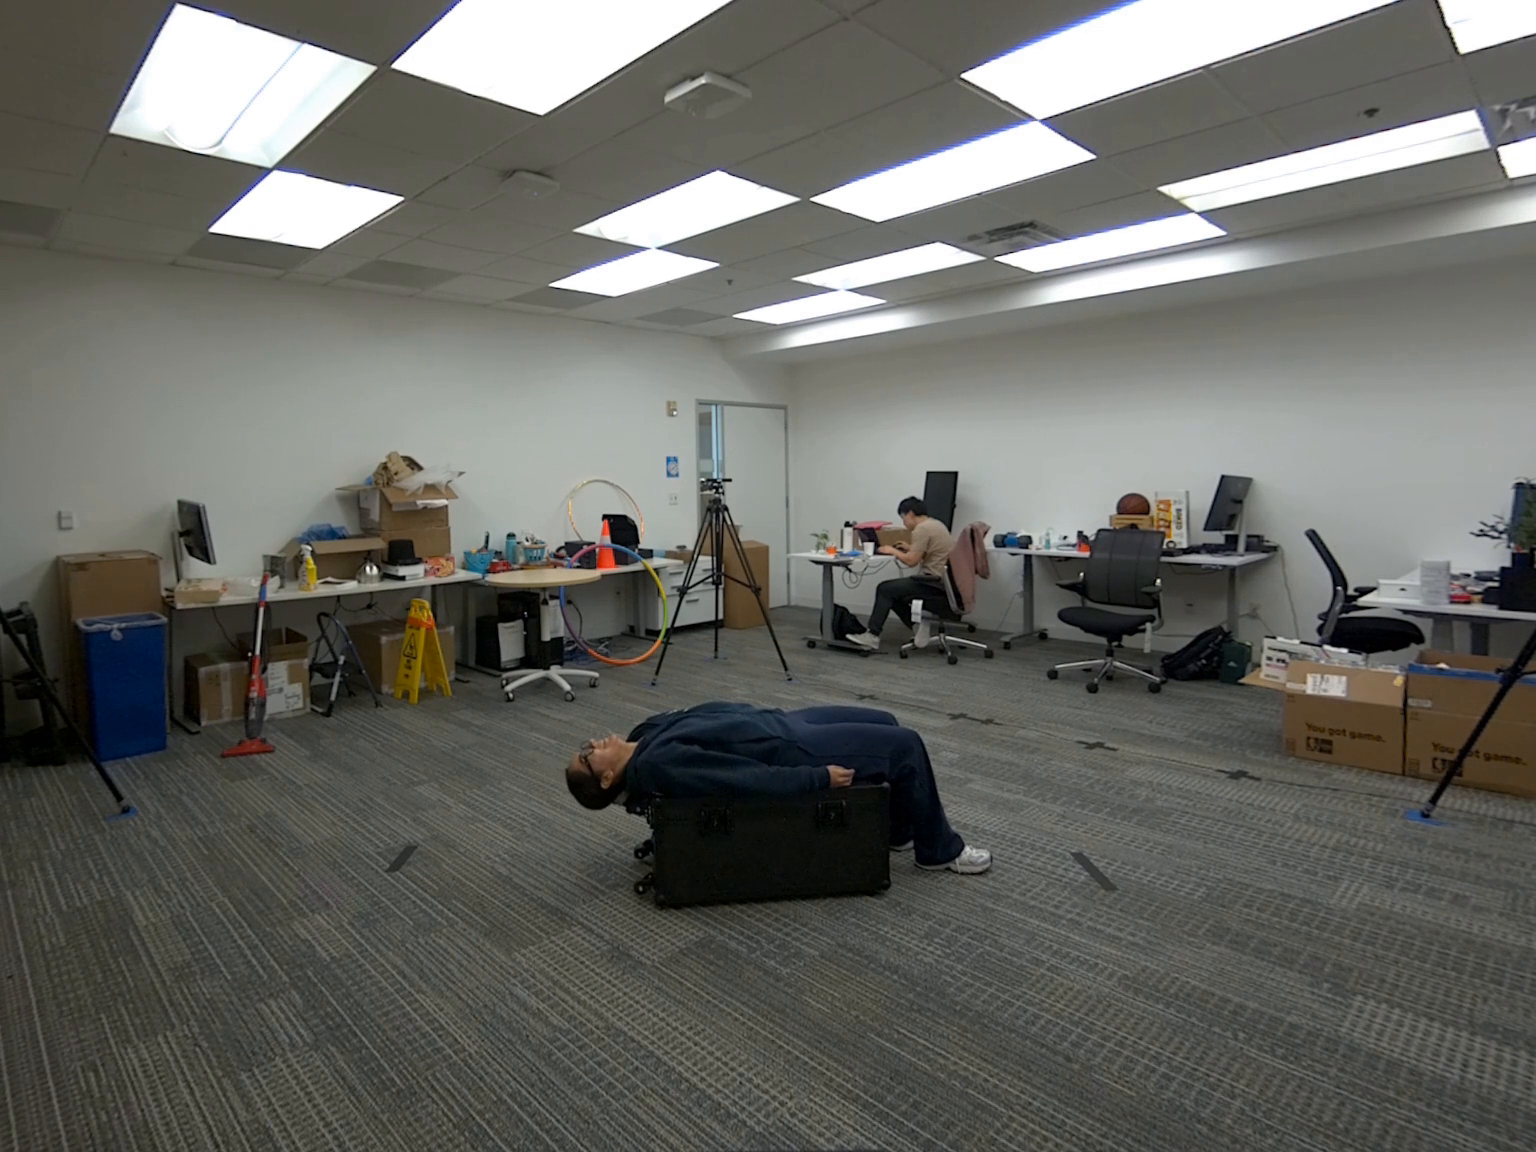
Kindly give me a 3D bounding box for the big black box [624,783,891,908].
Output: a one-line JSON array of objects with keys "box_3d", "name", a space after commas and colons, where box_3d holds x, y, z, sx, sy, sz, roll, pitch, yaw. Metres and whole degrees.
[{"box_3d": [-0.053, 0.862, 3.024, 0.856, 0.394, 0.527, -2, 7, -6], "name": "big black box"}]
